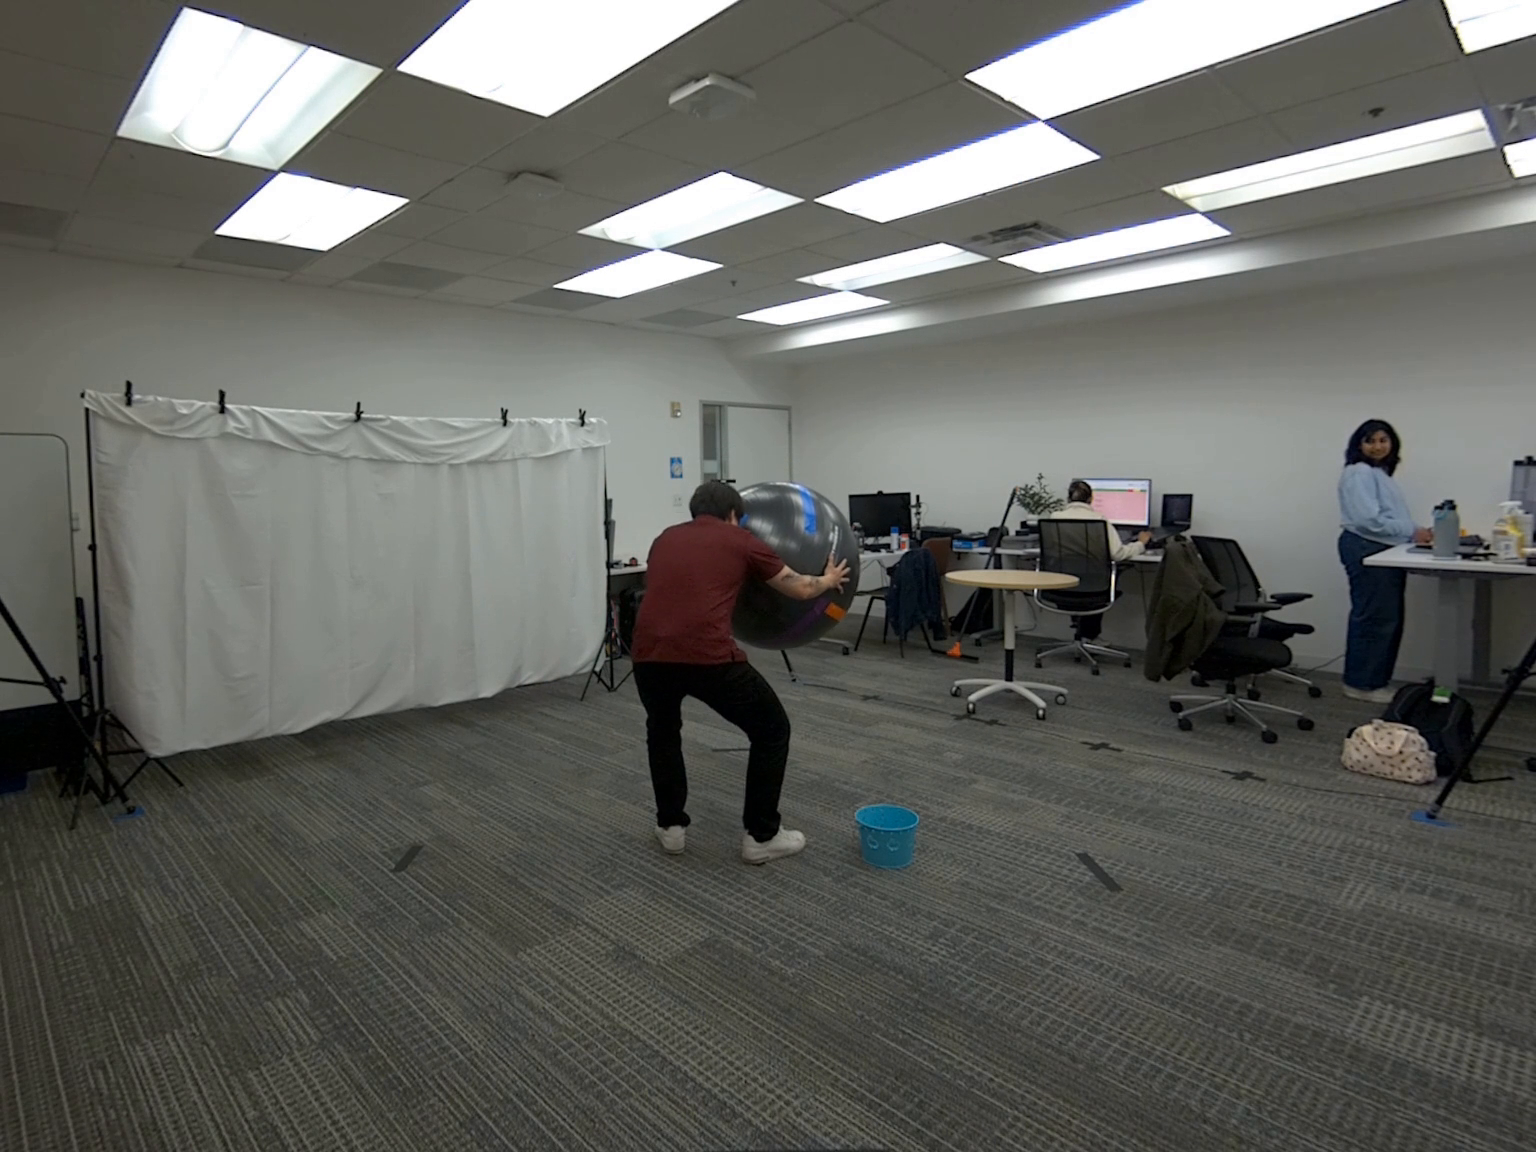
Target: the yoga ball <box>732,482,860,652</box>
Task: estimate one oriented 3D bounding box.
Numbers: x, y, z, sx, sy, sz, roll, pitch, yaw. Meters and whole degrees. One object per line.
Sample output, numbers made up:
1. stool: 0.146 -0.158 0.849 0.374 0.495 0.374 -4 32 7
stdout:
1. yoga ball: 0.040 -0.047 3.871 0.757 0.755 0.762 -1 5 -2
